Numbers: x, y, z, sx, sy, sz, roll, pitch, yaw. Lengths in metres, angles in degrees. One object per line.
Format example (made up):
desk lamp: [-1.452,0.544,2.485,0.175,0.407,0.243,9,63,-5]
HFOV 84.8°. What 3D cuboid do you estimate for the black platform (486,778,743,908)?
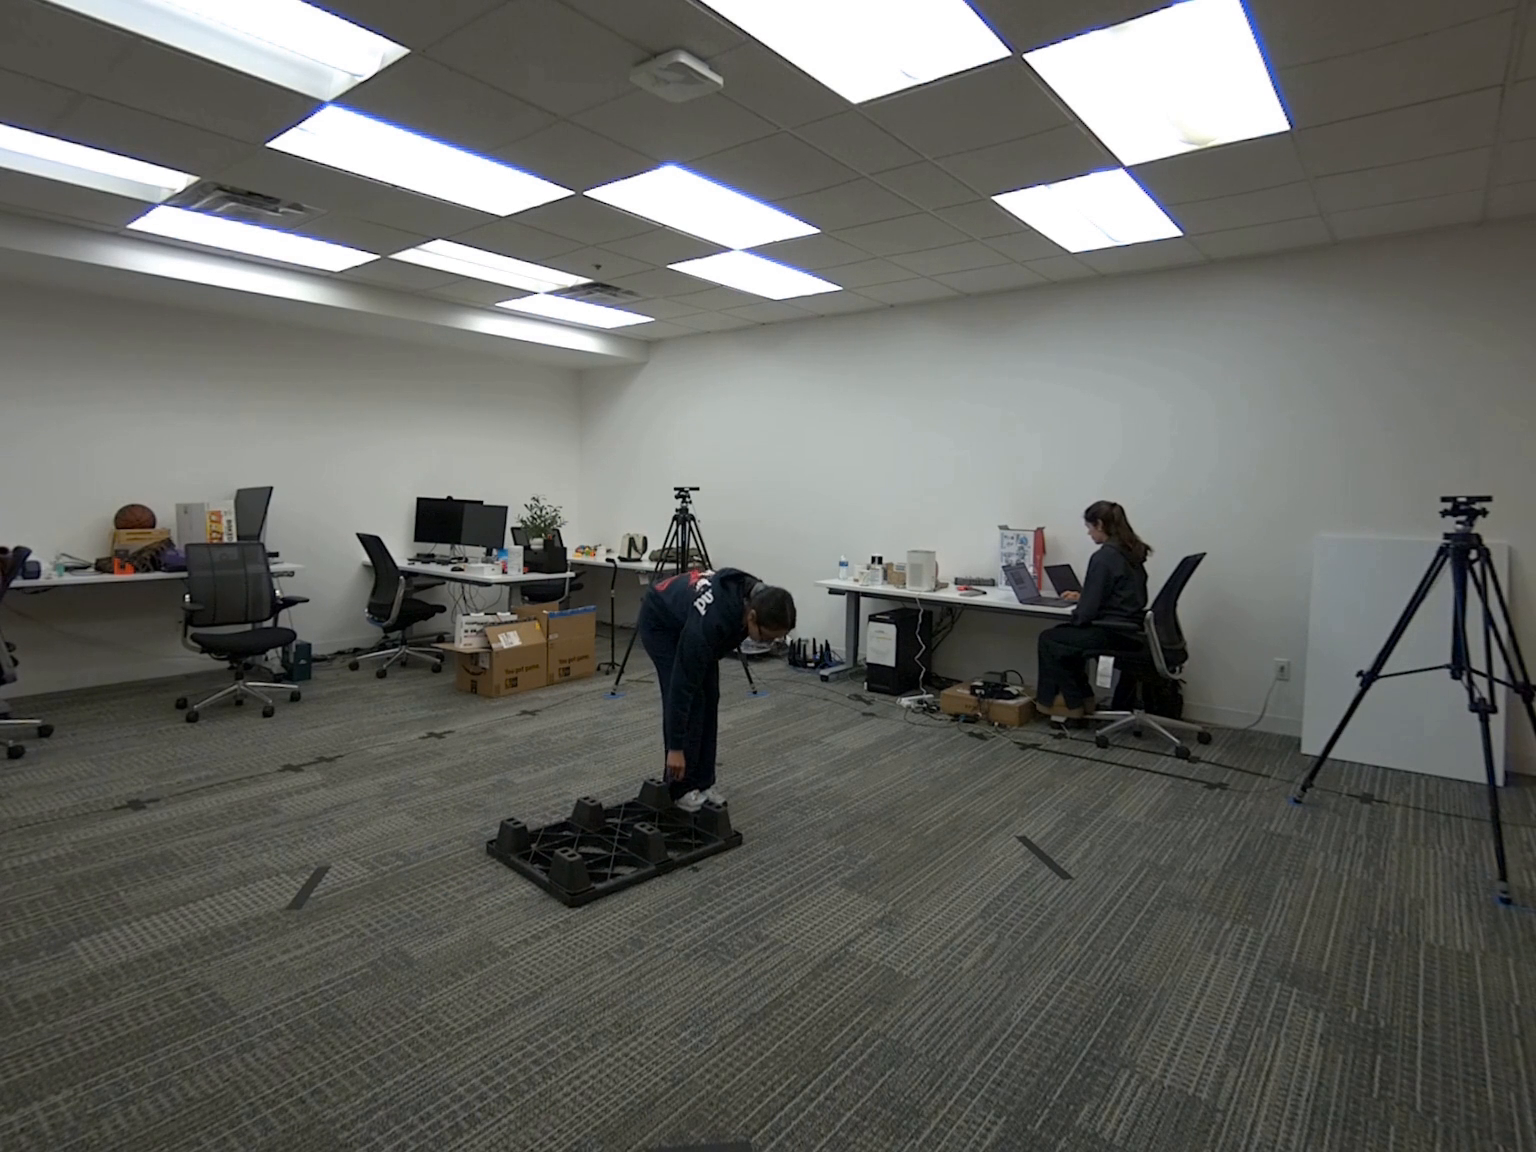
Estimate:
black platform: [-0.592,0.979,3.264,0.626,0.143,0.781,5,7,44]
